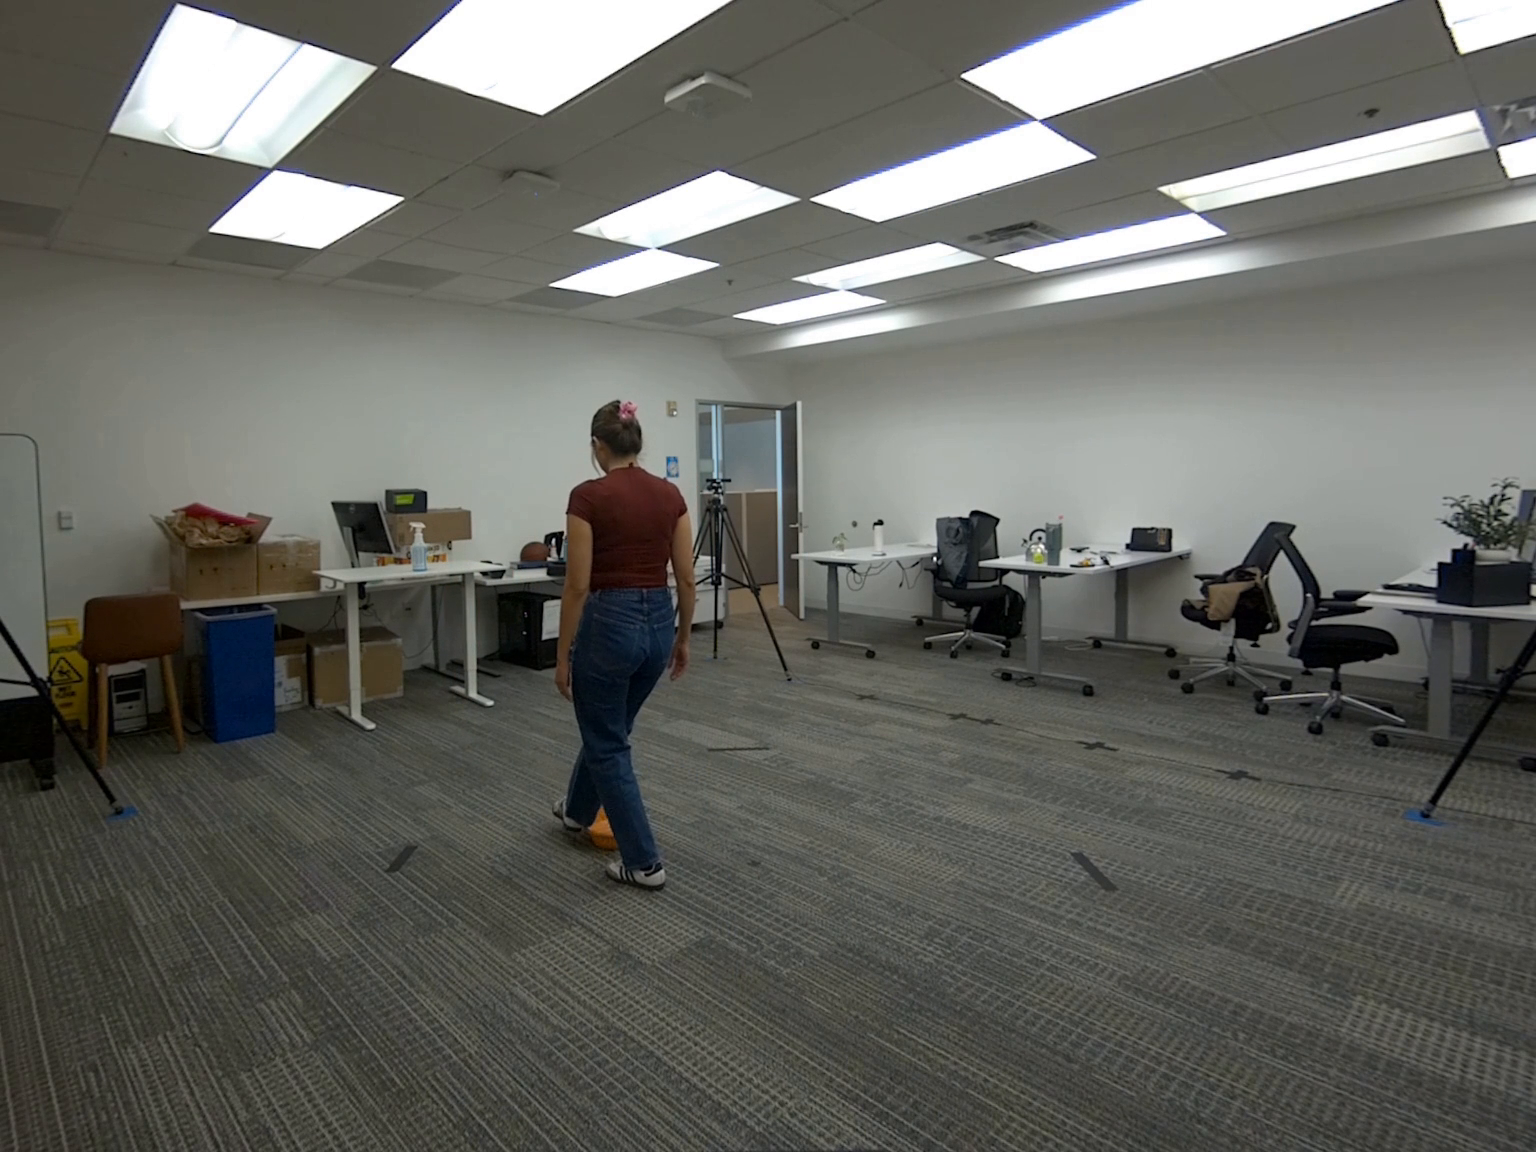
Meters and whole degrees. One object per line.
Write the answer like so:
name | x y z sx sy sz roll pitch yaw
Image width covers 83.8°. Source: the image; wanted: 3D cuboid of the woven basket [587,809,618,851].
woven basket | -0.603 0.984 3.379 0.250 0.073 0.355 -4 7 -11
